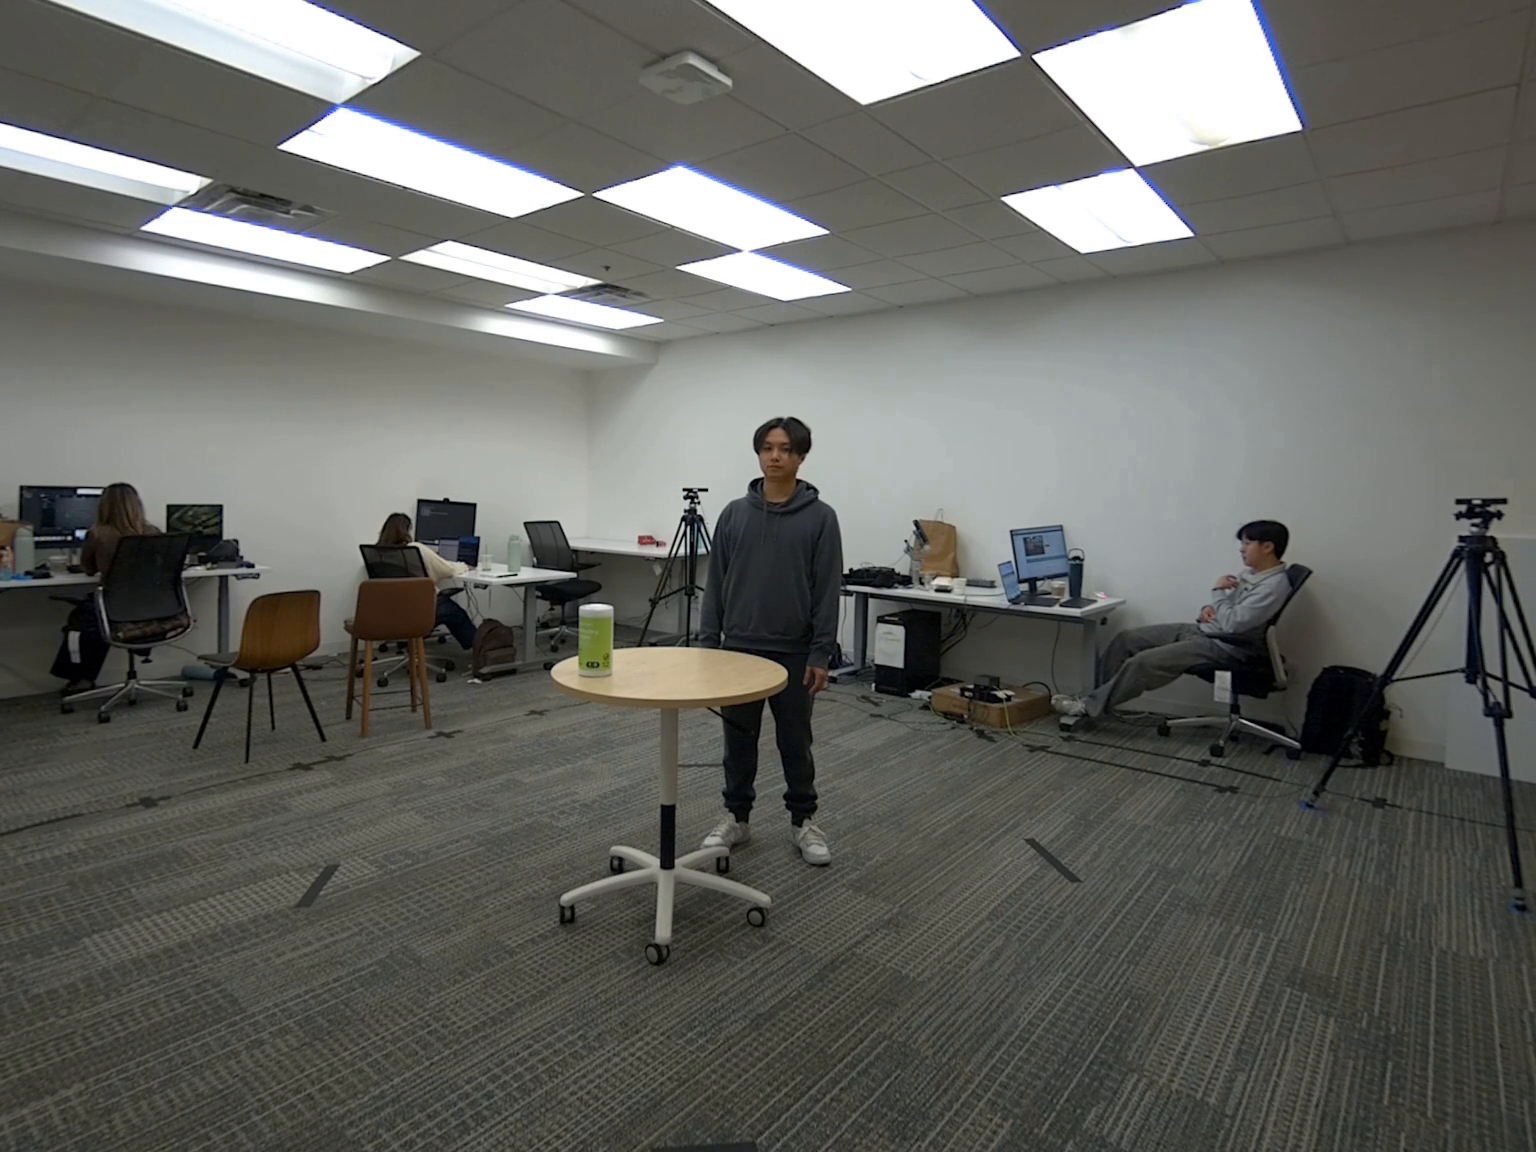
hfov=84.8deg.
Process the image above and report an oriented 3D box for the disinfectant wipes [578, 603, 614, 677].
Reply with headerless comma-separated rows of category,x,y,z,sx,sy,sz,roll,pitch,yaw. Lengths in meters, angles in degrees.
disinfectant wipes,-0.555,0.202,2.687,0.117,0.216,0.118,2,5,-2
